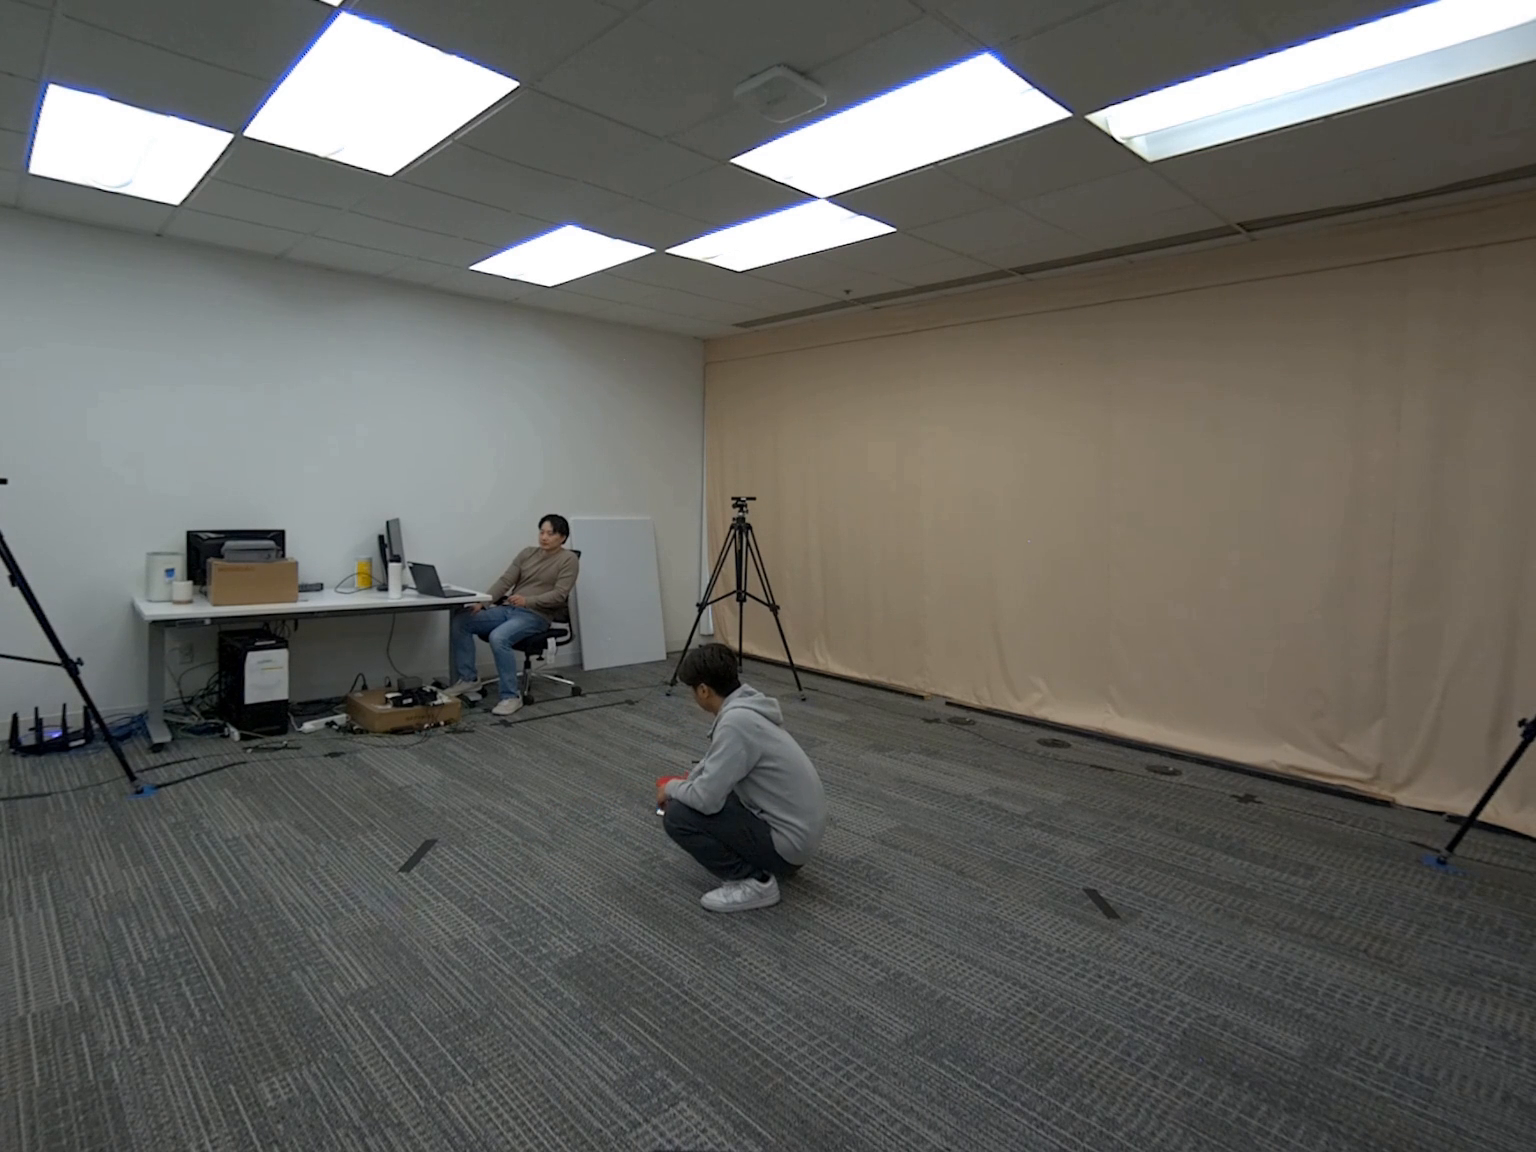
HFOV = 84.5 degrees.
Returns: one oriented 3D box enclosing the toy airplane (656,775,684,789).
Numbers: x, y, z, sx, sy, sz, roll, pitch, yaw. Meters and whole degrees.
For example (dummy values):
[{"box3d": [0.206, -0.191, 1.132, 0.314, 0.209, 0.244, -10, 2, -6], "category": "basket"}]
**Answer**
[{"box3d": [-0.367, 0.984, 3.658, 0.249, 0.156, 0.262, -1, 4, -10], "category": "toy airplane"}]
